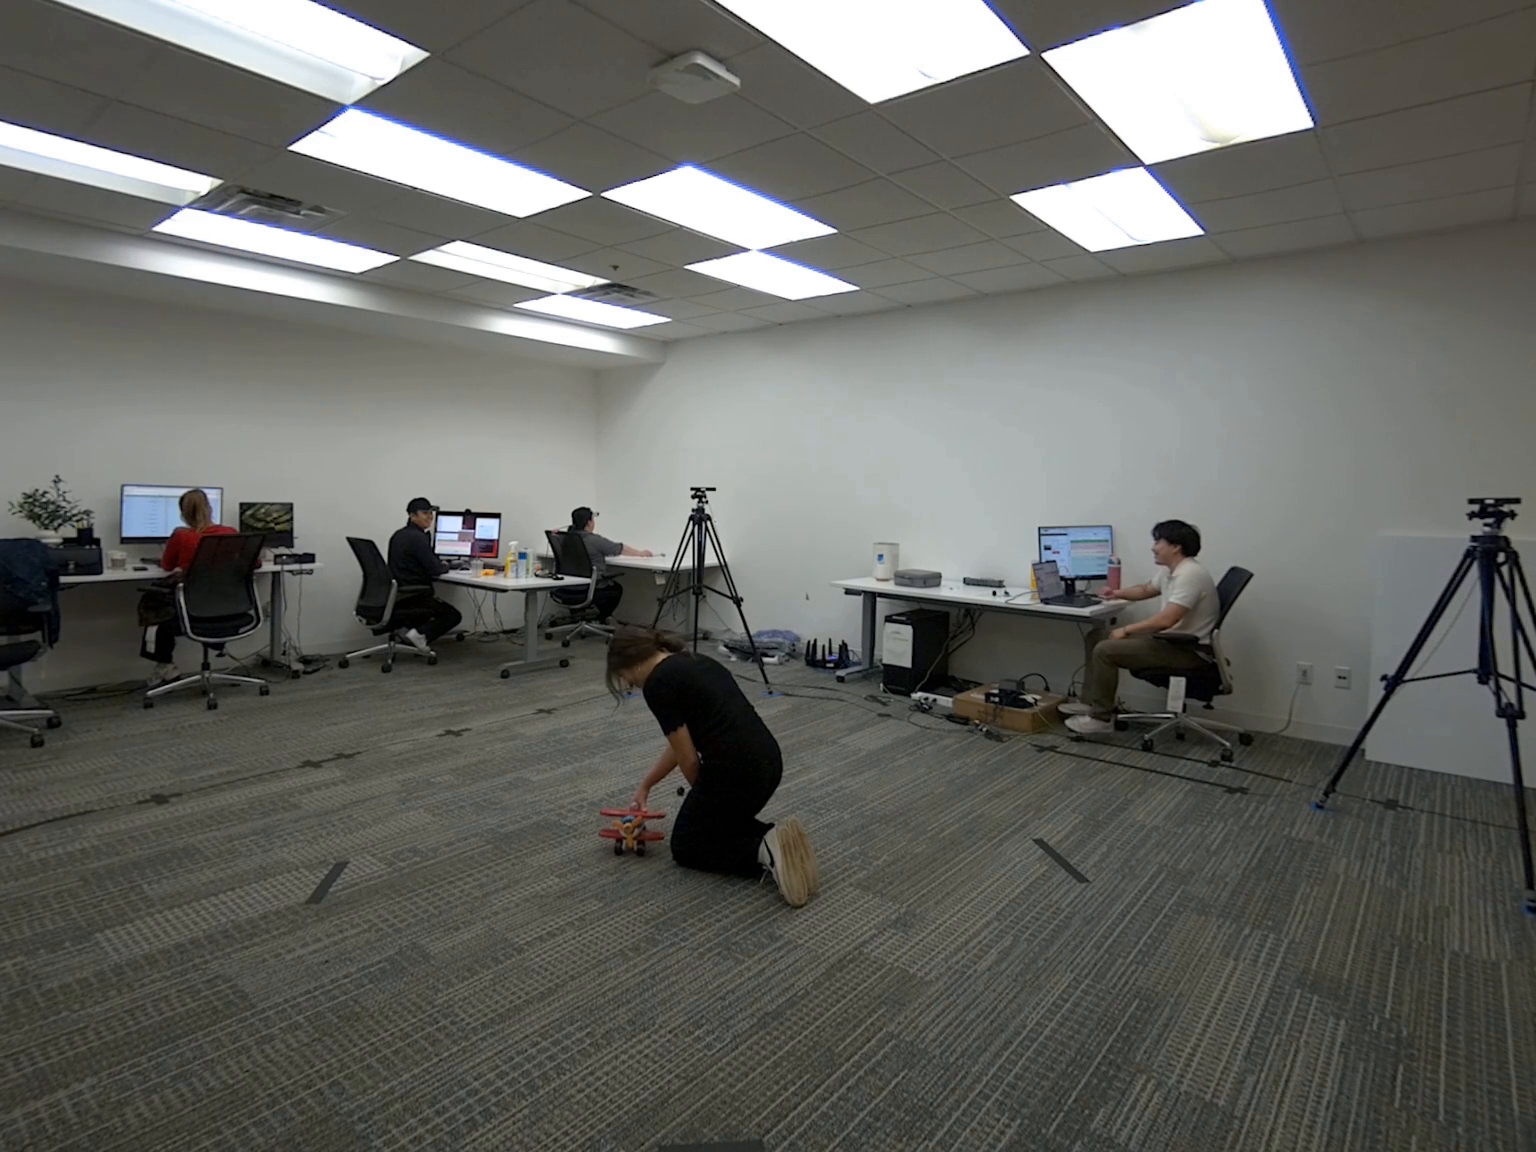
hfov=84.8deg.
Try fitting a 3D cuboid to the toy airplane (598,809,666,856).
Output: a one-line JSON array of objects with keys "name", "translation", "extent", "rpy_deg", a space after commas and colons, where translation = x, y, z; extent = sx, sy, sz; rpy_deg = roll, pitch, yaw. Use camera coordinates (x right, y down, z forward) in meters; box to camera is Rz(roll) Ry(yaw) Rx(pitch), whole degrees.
[{"name": "toy airplane", "translation": [-0.552, 0.966, 3.301], "extent": [0.245, 0.155, 0.267], "rpy_deg": [-3, 10, -24]}]
